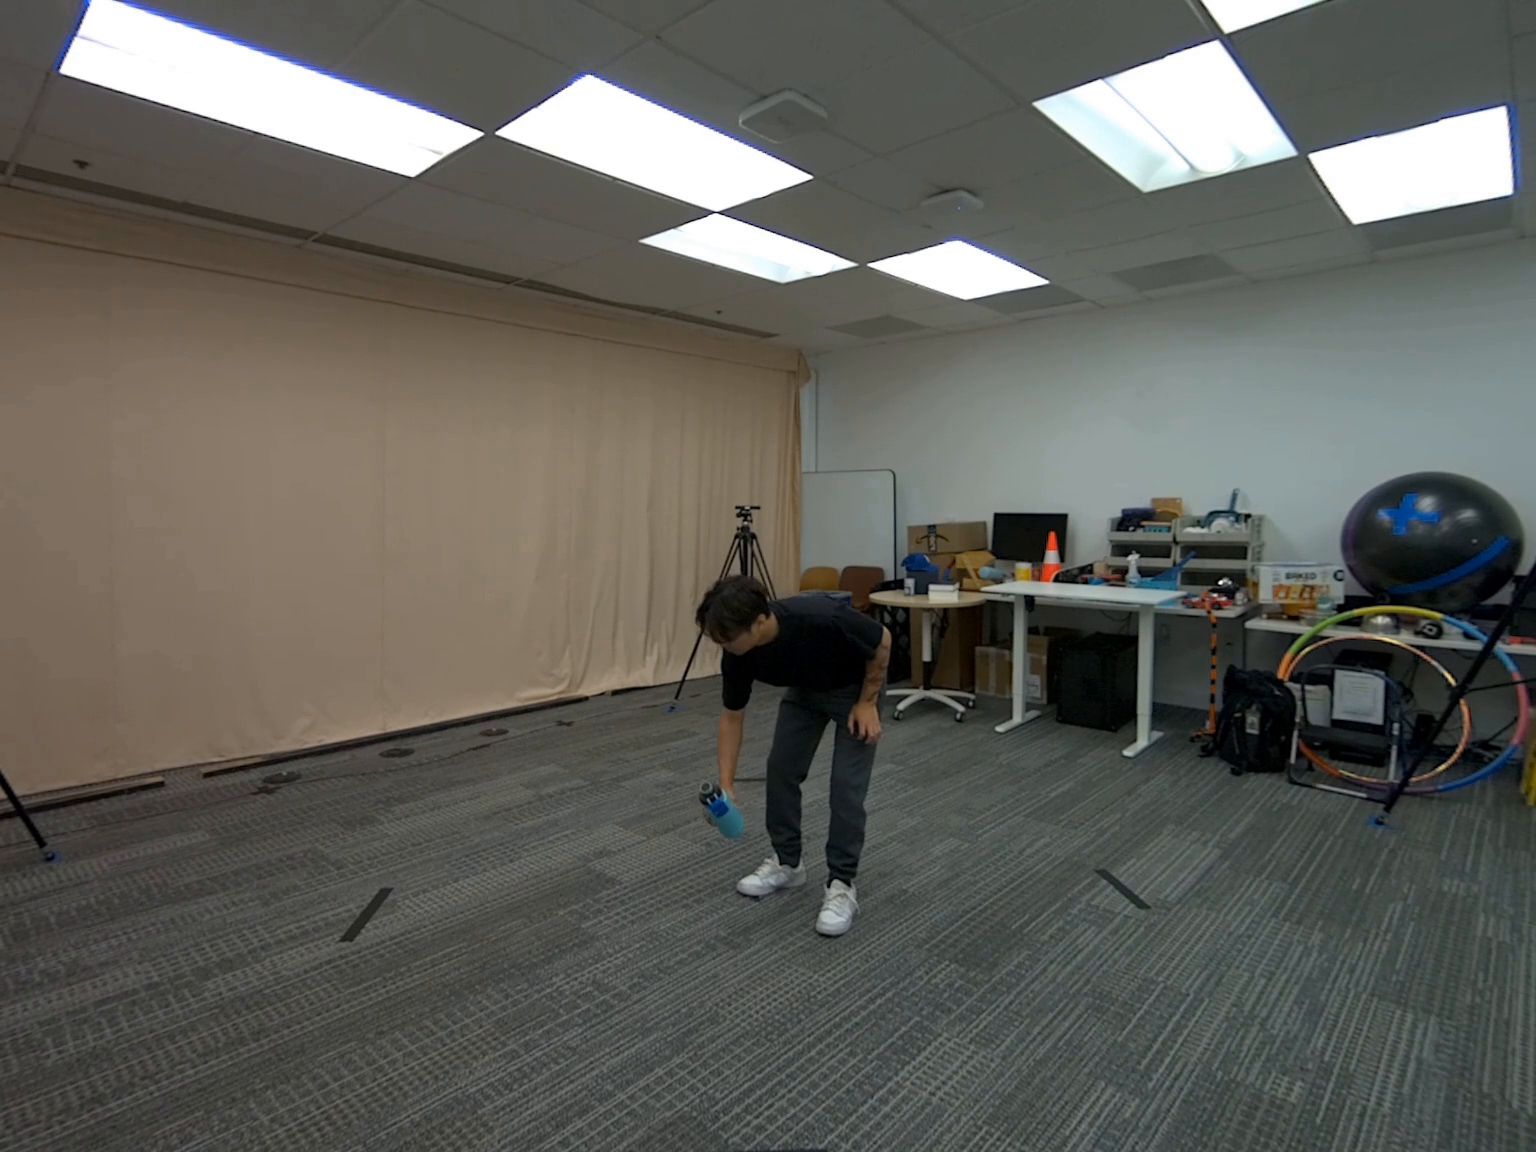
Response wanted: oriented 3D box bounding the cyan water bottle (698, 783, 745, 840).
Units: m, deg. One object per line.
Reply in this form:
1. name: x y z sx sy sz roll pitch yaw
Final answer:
1. cyan water bottle: -0.148 0.775 2.796 0.094 0.093 0.275 2 -39 22
